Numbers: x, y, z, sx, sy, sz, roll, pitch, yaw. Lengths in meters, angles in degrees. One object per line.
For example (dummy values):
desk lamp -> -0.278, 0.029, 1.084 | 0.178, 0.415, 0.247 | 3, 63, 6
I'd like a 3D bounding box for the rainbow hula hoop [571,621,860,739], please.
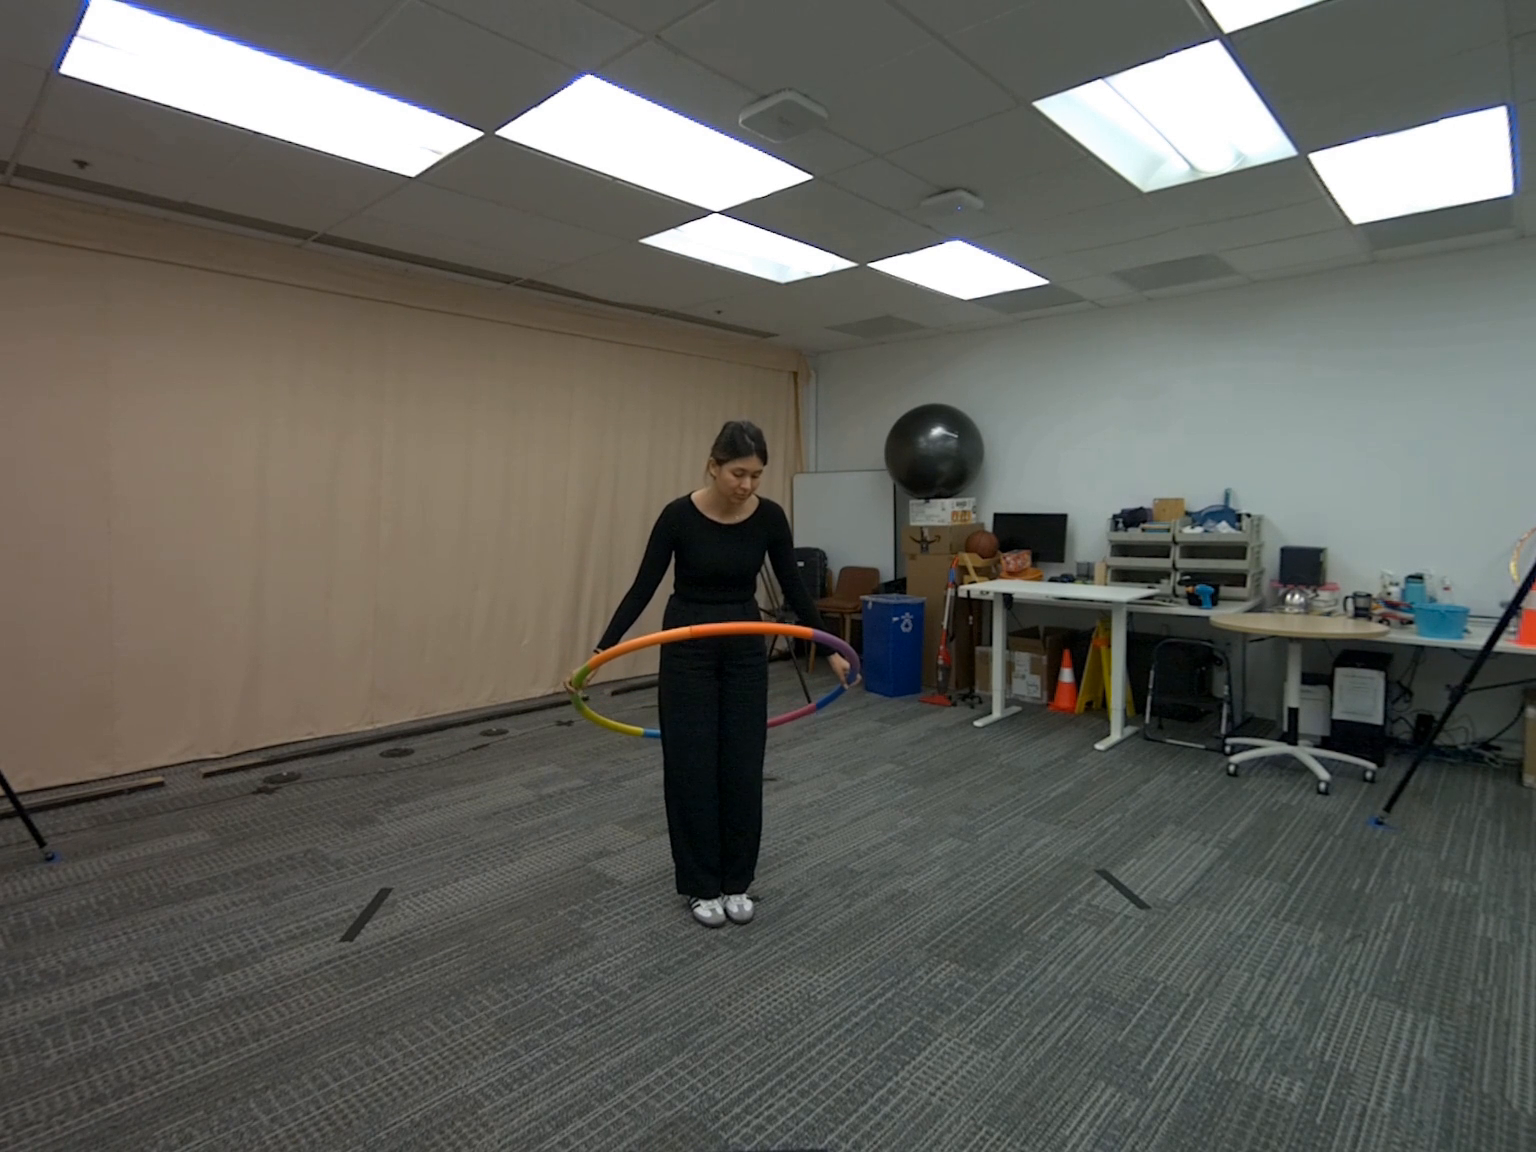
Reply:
rainbow hula hoop -> -0.180, 0.379, 2.854 | 0.975, 0.036, 0.964 | -4, -29, -4
